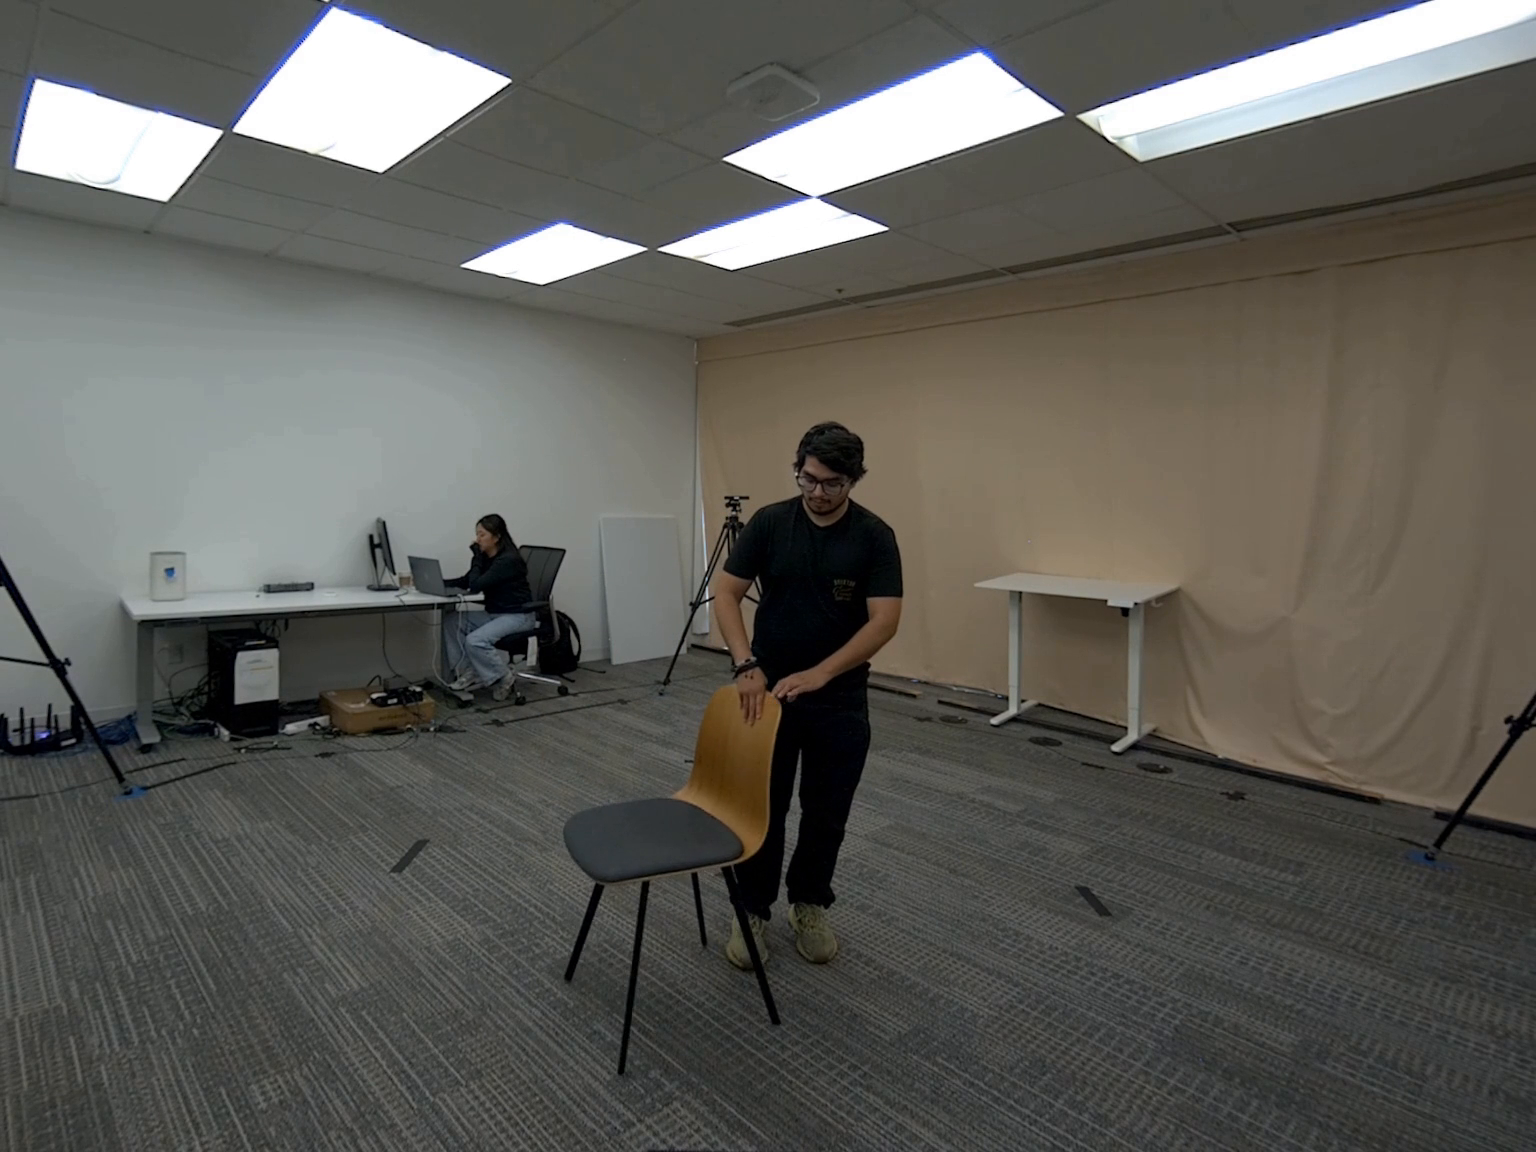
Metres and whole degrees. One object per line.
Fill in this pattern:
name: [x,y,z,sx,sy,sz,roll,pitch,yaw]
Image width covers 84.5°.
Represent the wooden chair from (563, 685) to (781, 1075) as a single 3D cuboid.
wooden chair: [-0.276,0.752,2.283,0.512,0.876,0.489,4,2,-29]
